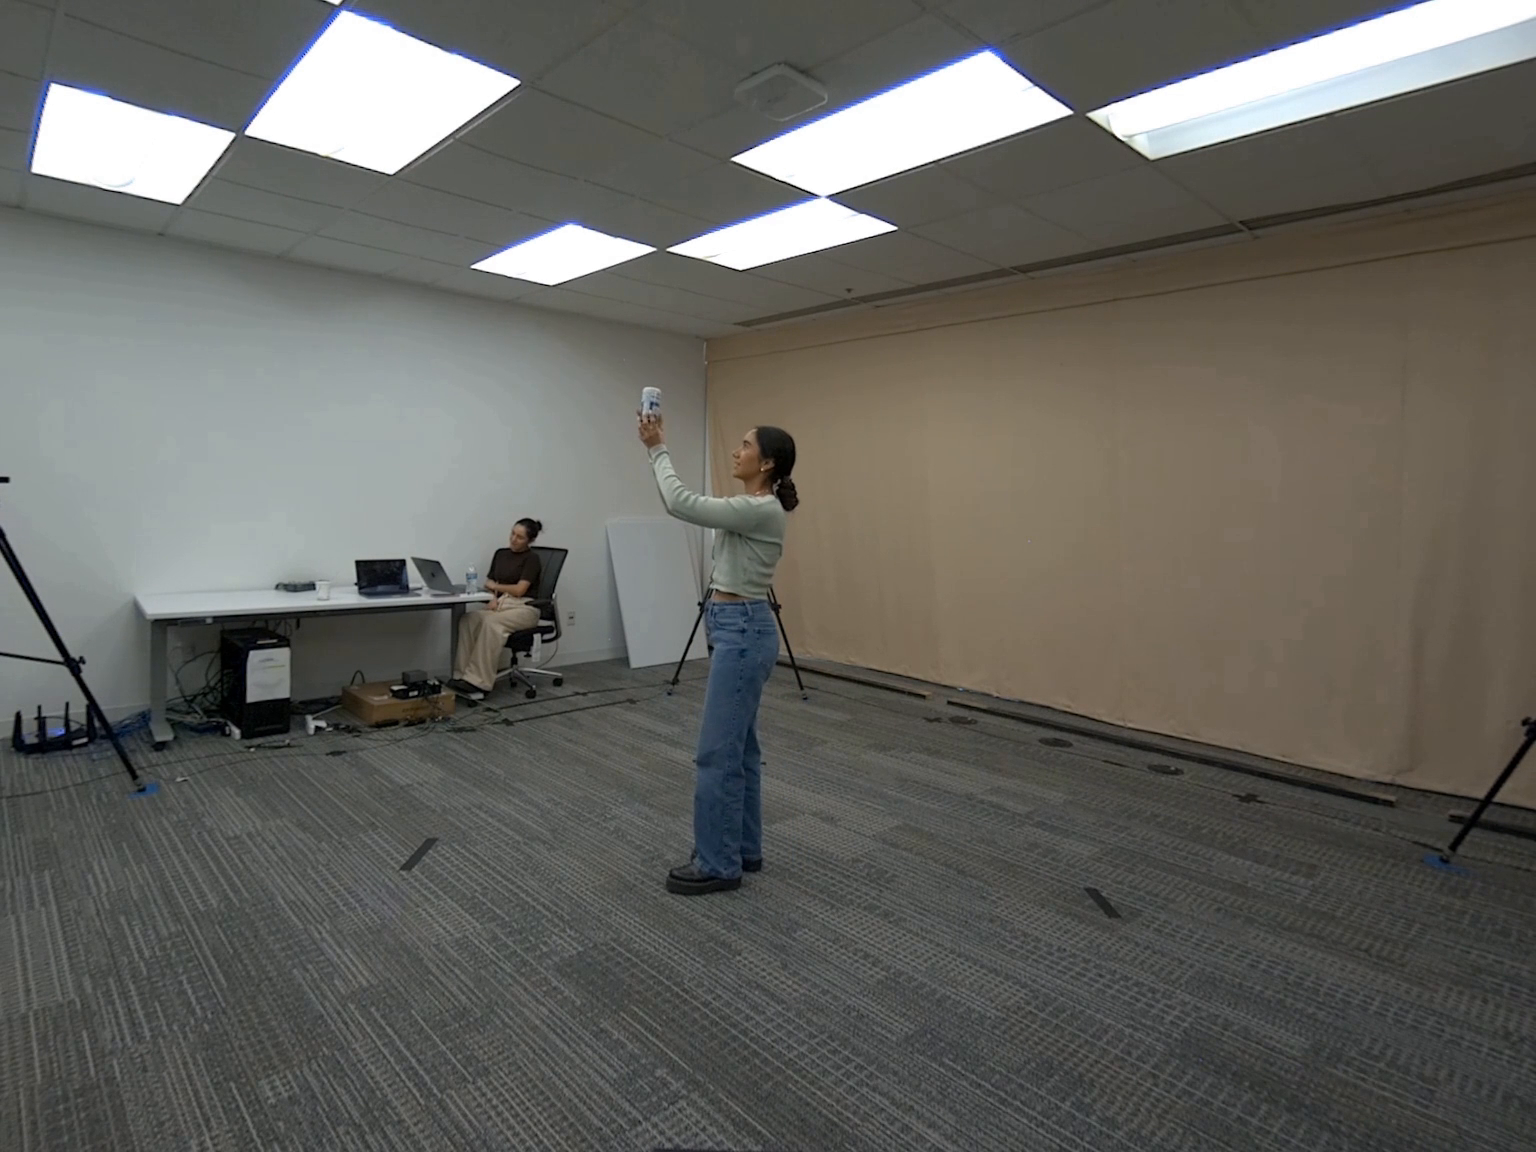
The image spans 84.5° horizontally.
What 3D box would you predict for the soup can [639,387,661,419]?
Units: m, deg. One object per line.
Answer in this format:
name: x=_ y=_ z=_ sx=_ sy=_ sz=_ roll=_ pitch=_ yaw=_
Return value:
soup can: x=-0.427 y=-0.619 z=3.058 sx=0.067 sy=0.122 sz=0.067 roll=2 pitch=-6 yaw=-1
